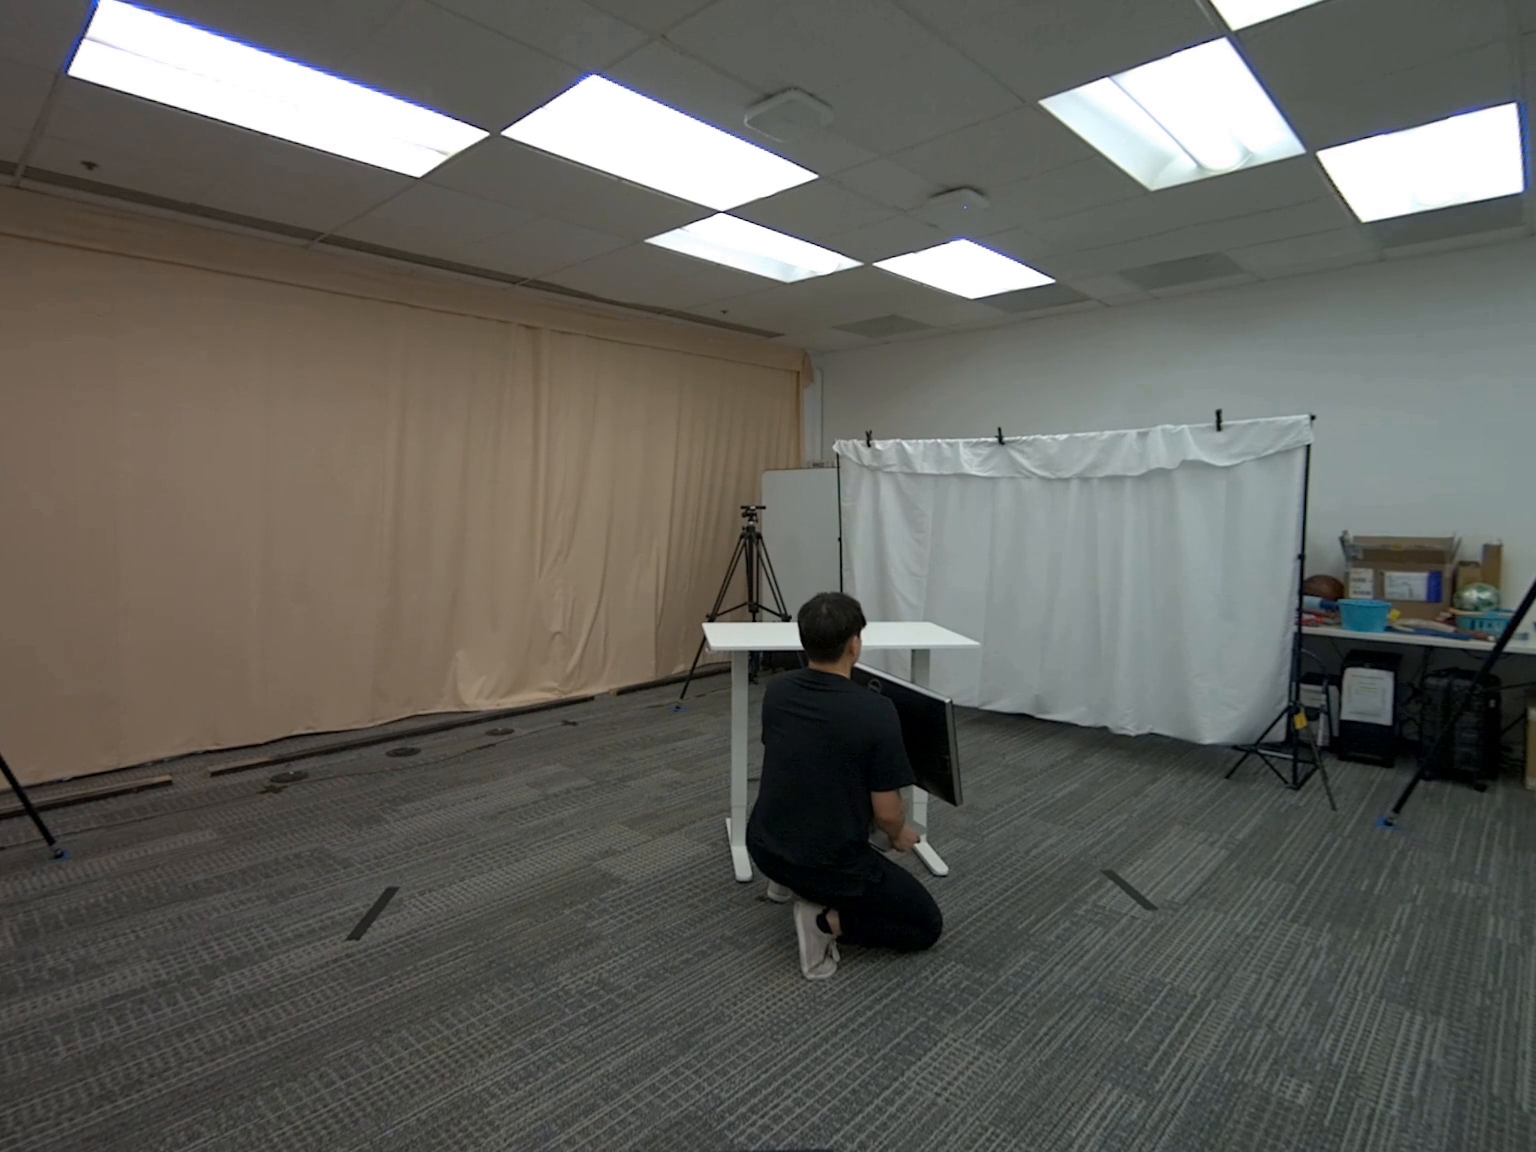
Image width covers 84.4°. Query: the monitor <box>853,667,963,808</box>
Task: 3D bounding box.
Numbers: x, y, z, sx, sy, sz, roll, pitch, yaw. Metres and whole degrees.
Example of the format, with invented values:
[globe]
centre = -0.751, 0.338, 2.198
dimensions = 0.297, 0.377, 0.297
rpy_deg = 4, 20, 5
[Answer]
[monitor]
centre = 0.372, 0.569, 2.705
dimensions = 0.182, 0.519, 0.558
rpy_deg = -9, 15, -38
